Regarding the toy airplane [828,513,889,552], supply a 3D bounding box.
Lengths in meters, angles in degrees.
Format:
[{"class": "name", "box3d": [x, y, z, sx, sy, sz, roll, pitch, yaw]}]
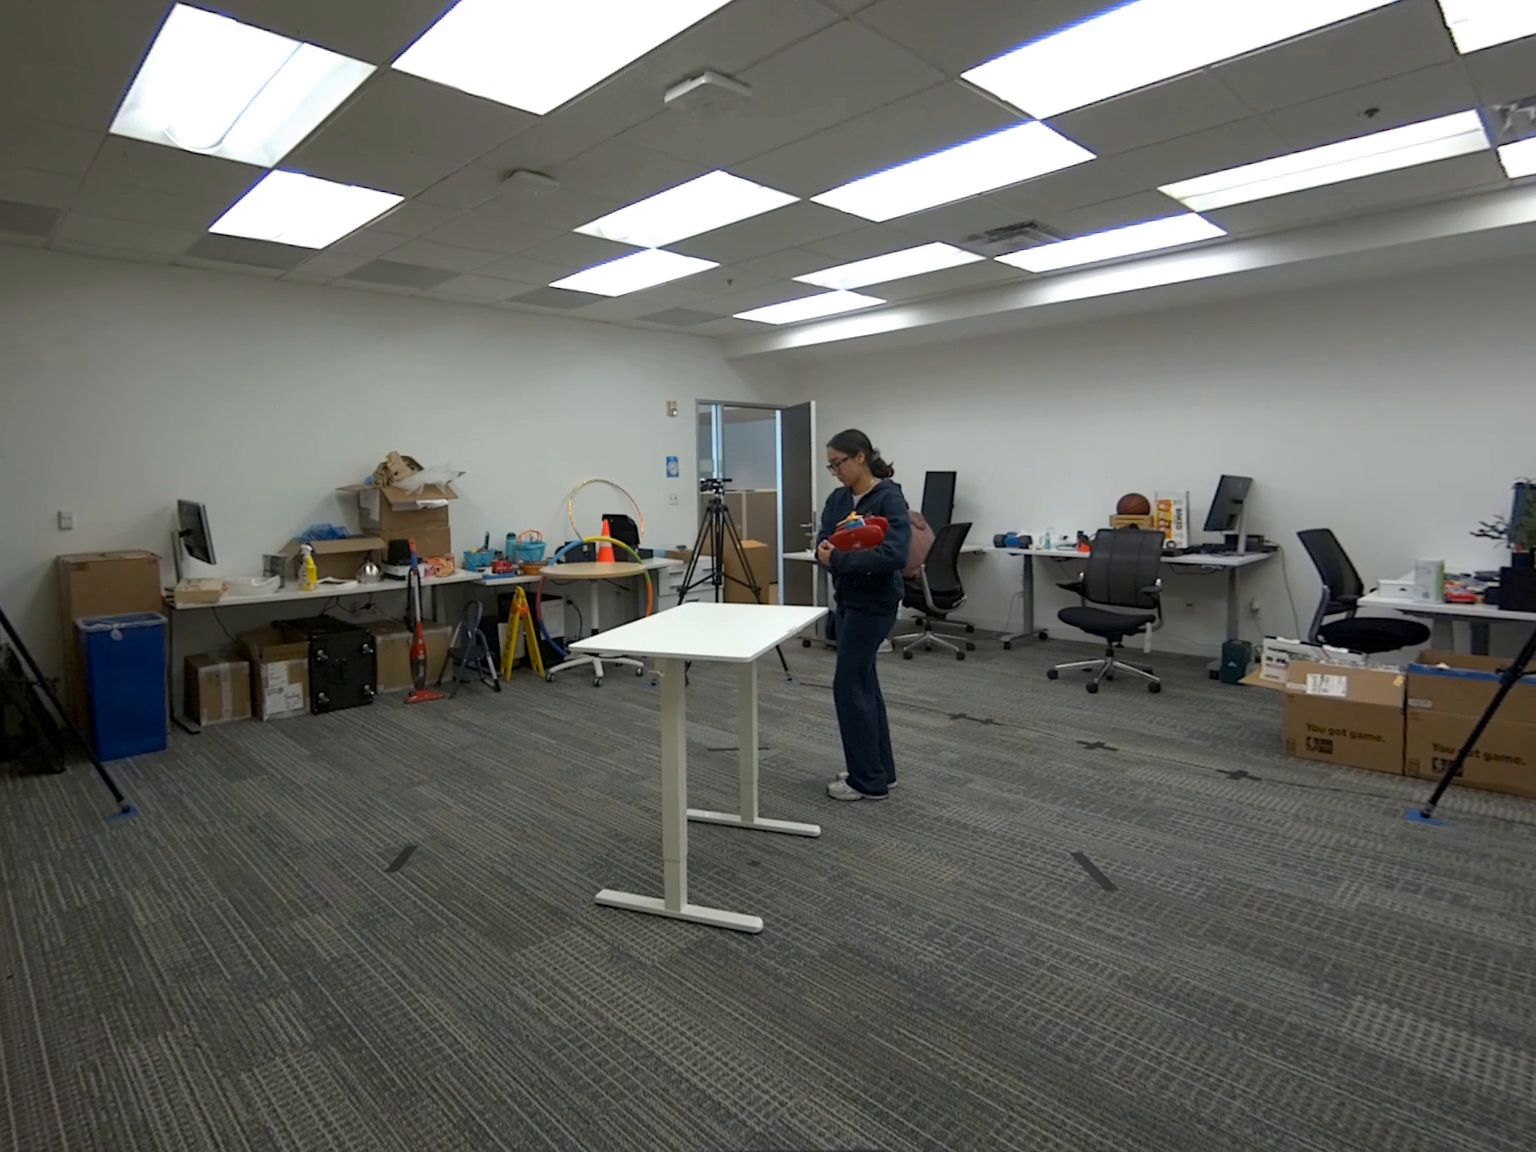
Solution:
[{"class": "toy airplane", "box3d": [0.412, -0.146, 3.606, 0.154, 0.264, 0.250, -23, -22, -54]}]
